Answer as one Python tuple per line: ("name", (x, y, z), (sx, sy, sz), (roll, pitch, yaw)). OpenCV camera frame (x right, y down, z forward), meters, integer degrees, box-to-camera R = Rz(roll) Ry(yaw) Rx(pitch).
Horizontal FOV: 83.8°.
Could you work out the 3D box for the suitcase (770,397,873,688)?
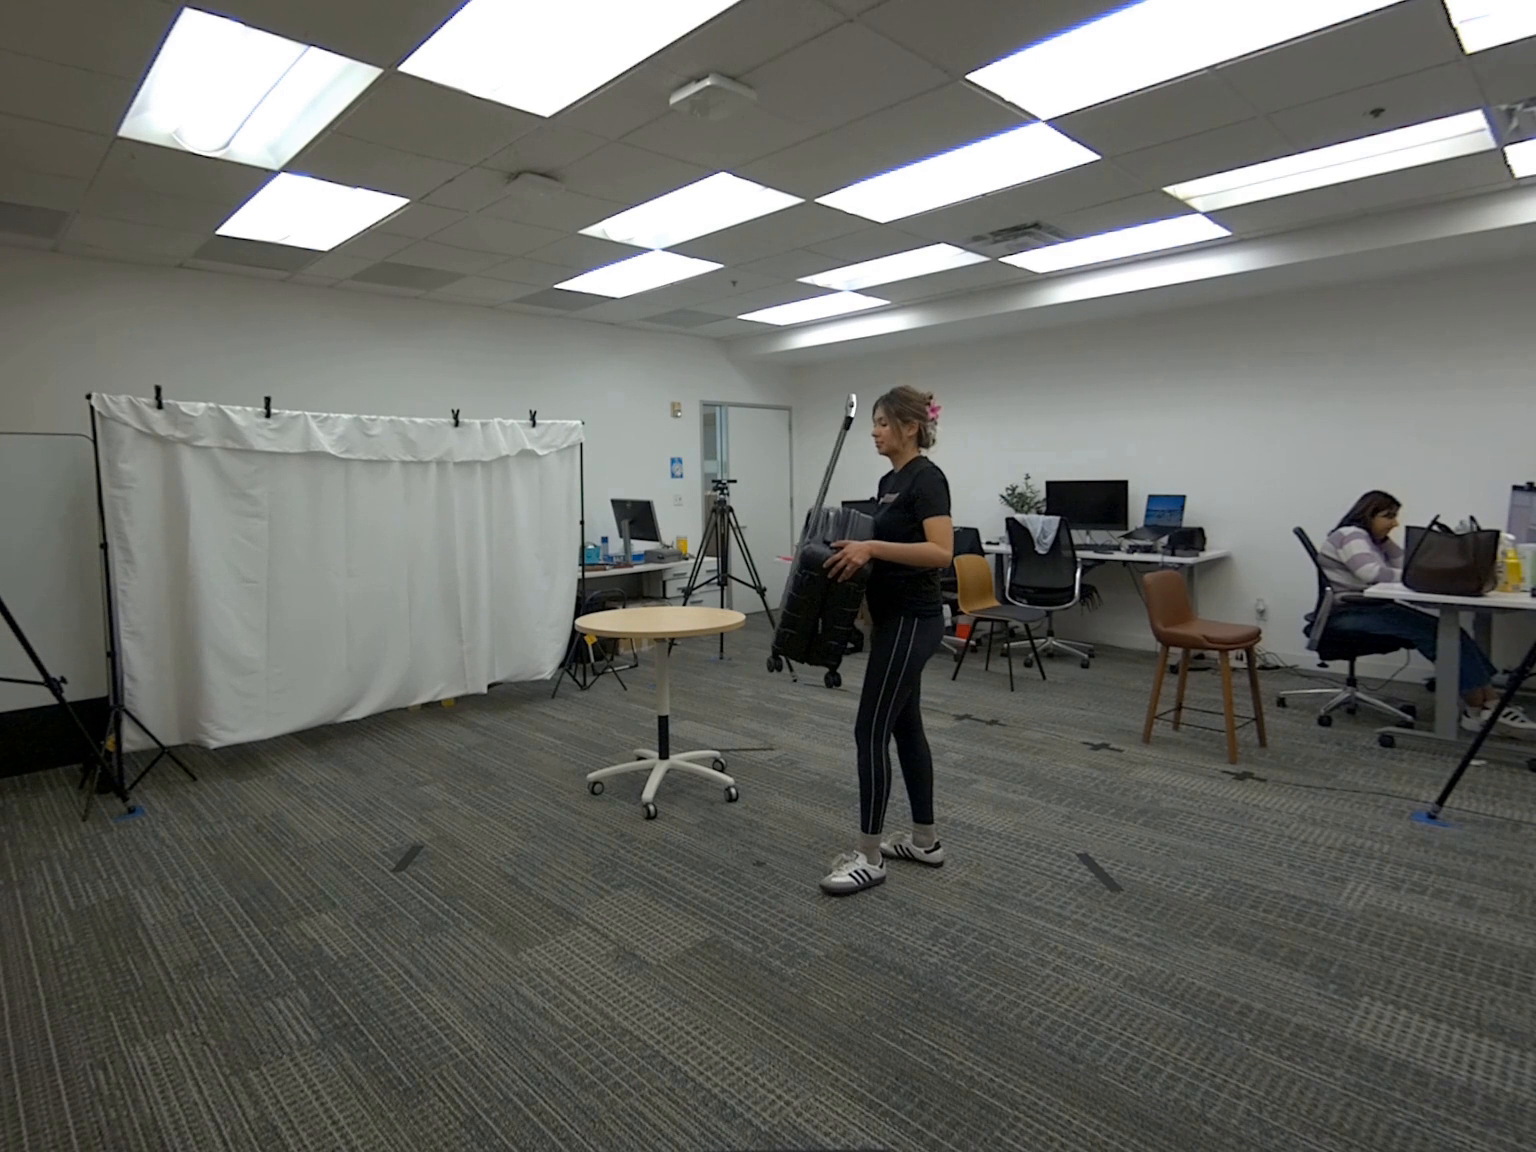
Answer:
("suitcase", (0.250, -0.118, 2.874), (0.258, 0.962, 0.390), (17, 34, 1))
